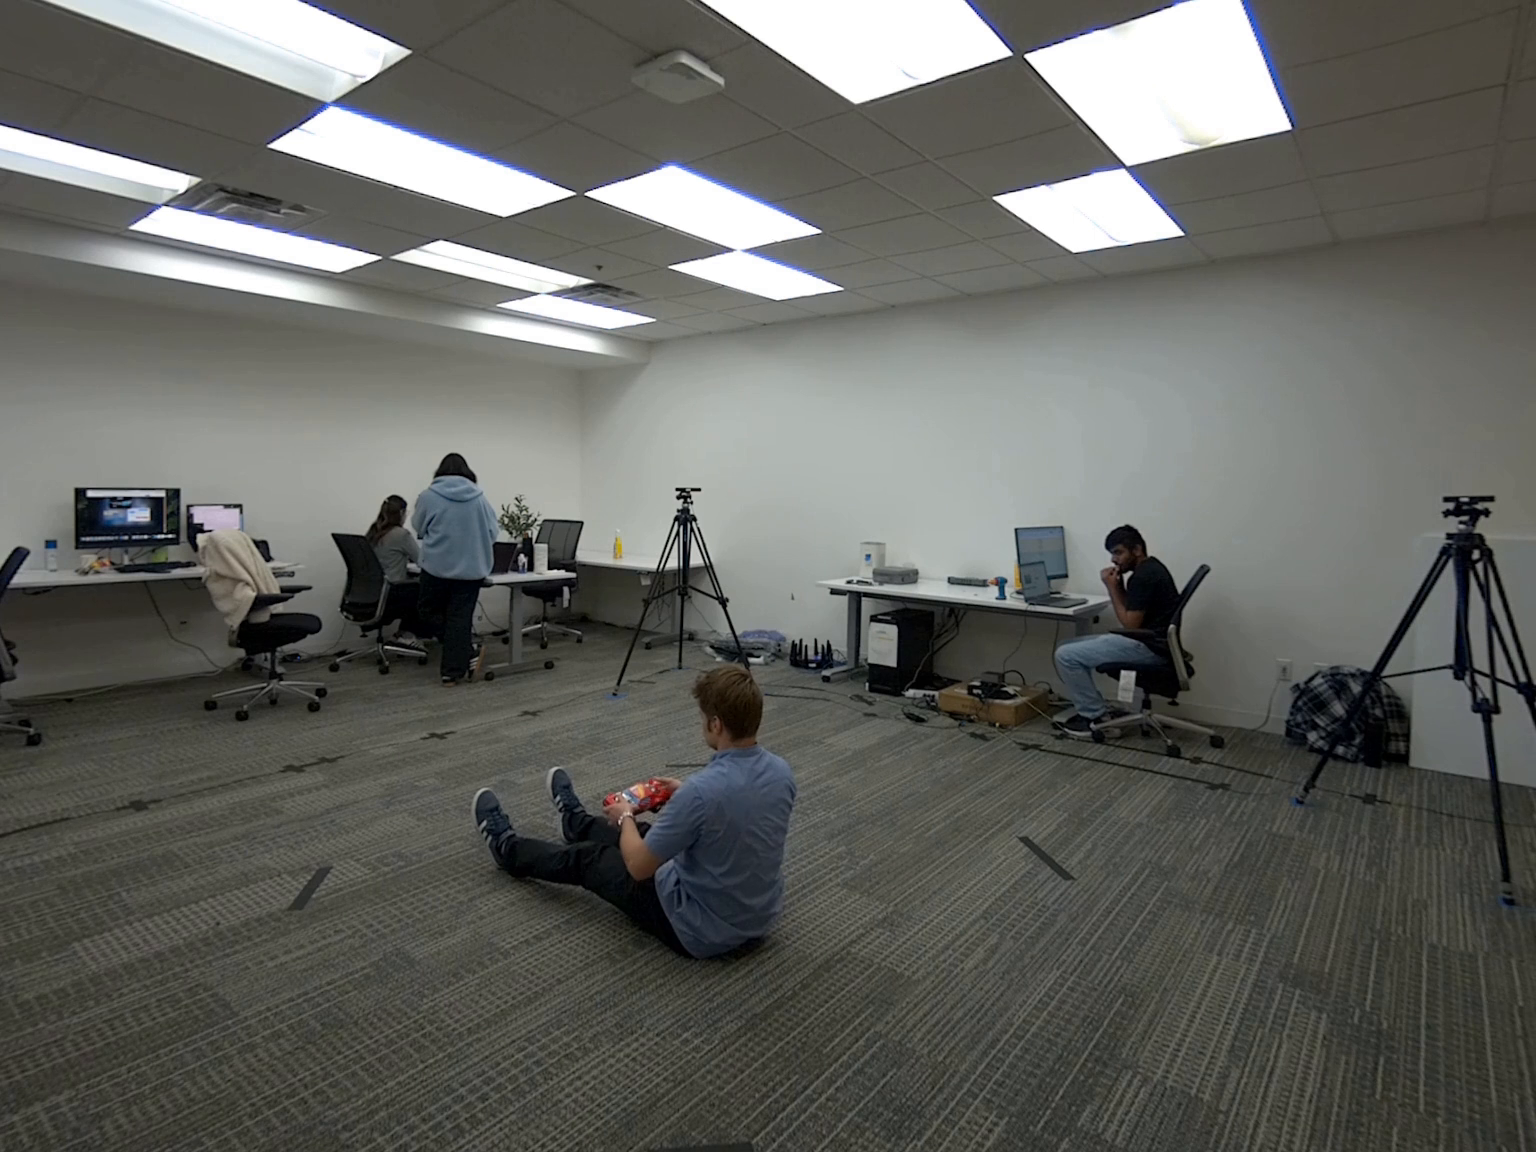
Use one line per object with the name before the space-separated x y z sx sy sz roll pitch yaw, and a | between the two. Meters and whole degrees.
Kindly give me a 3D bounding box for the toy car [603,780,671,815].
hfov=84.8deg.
toy car | -0.449 0.766 2.926 0.135 0.082 0.249 29 30 31
